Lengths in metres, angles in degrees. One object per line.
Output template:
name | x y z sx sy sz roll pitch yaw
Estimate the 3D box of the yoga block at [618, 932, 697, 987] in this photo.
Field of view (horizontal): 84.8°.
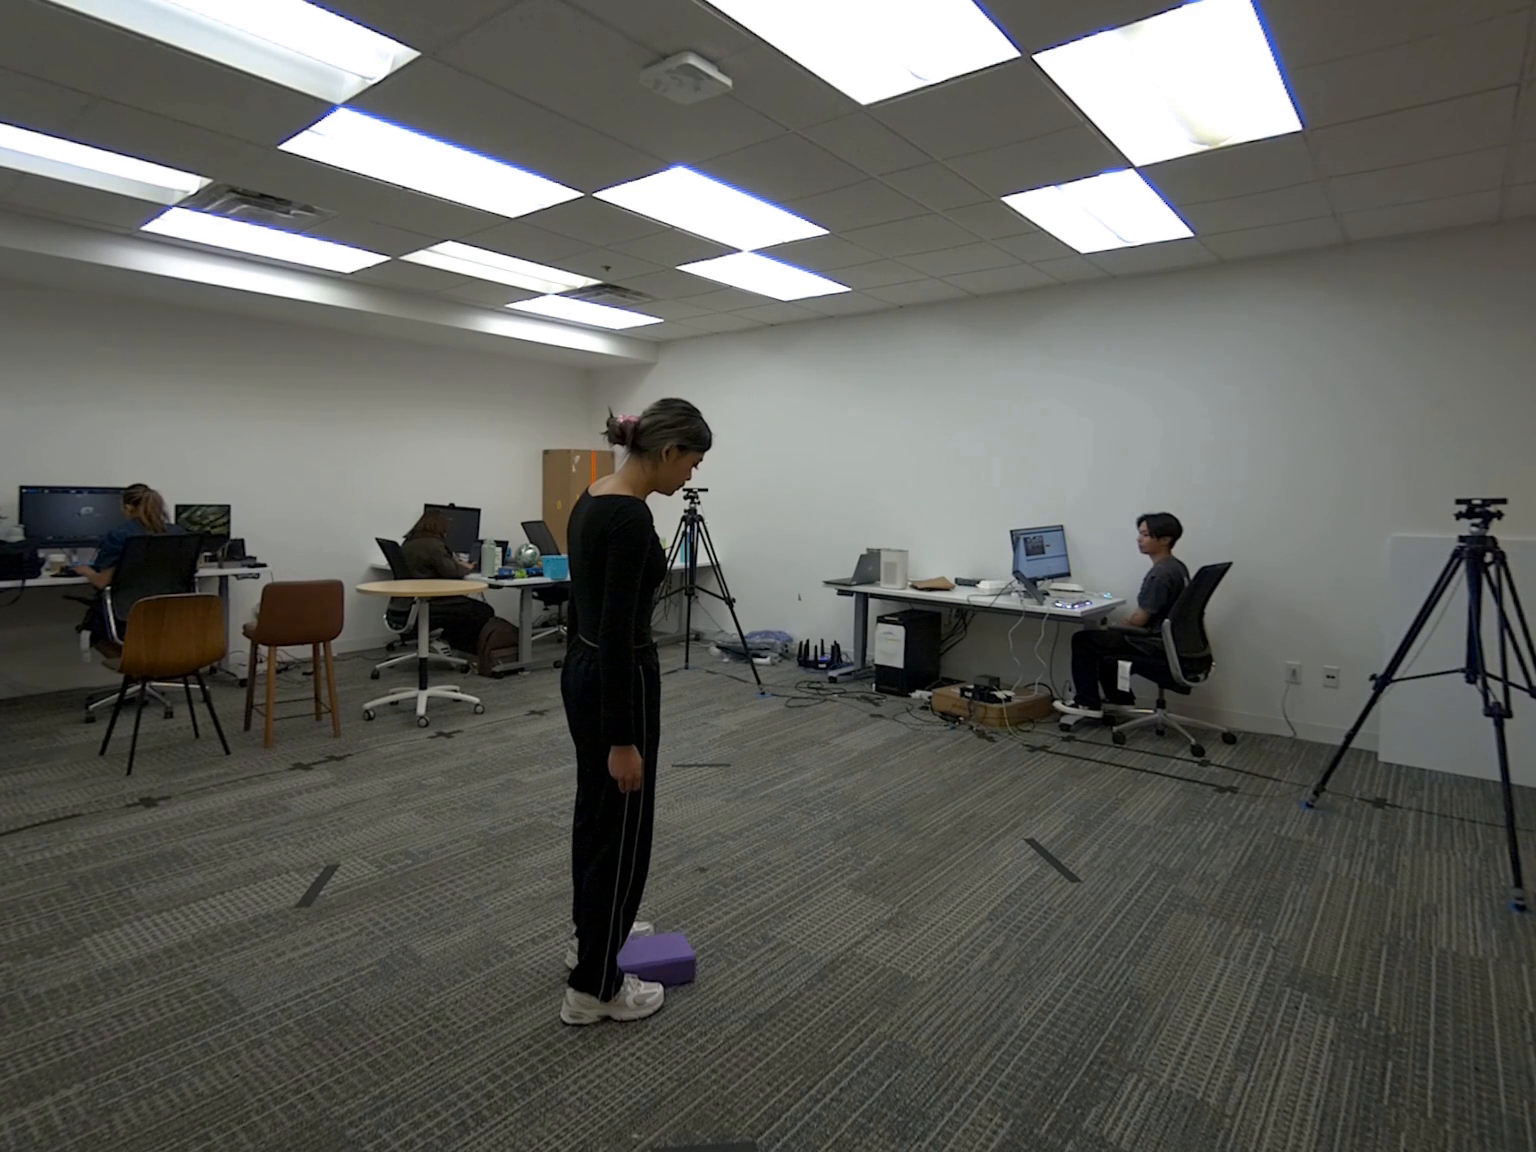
yoga block | -0.339 1.096 2.421 0.225 0.076 0.152 0 5 -19
